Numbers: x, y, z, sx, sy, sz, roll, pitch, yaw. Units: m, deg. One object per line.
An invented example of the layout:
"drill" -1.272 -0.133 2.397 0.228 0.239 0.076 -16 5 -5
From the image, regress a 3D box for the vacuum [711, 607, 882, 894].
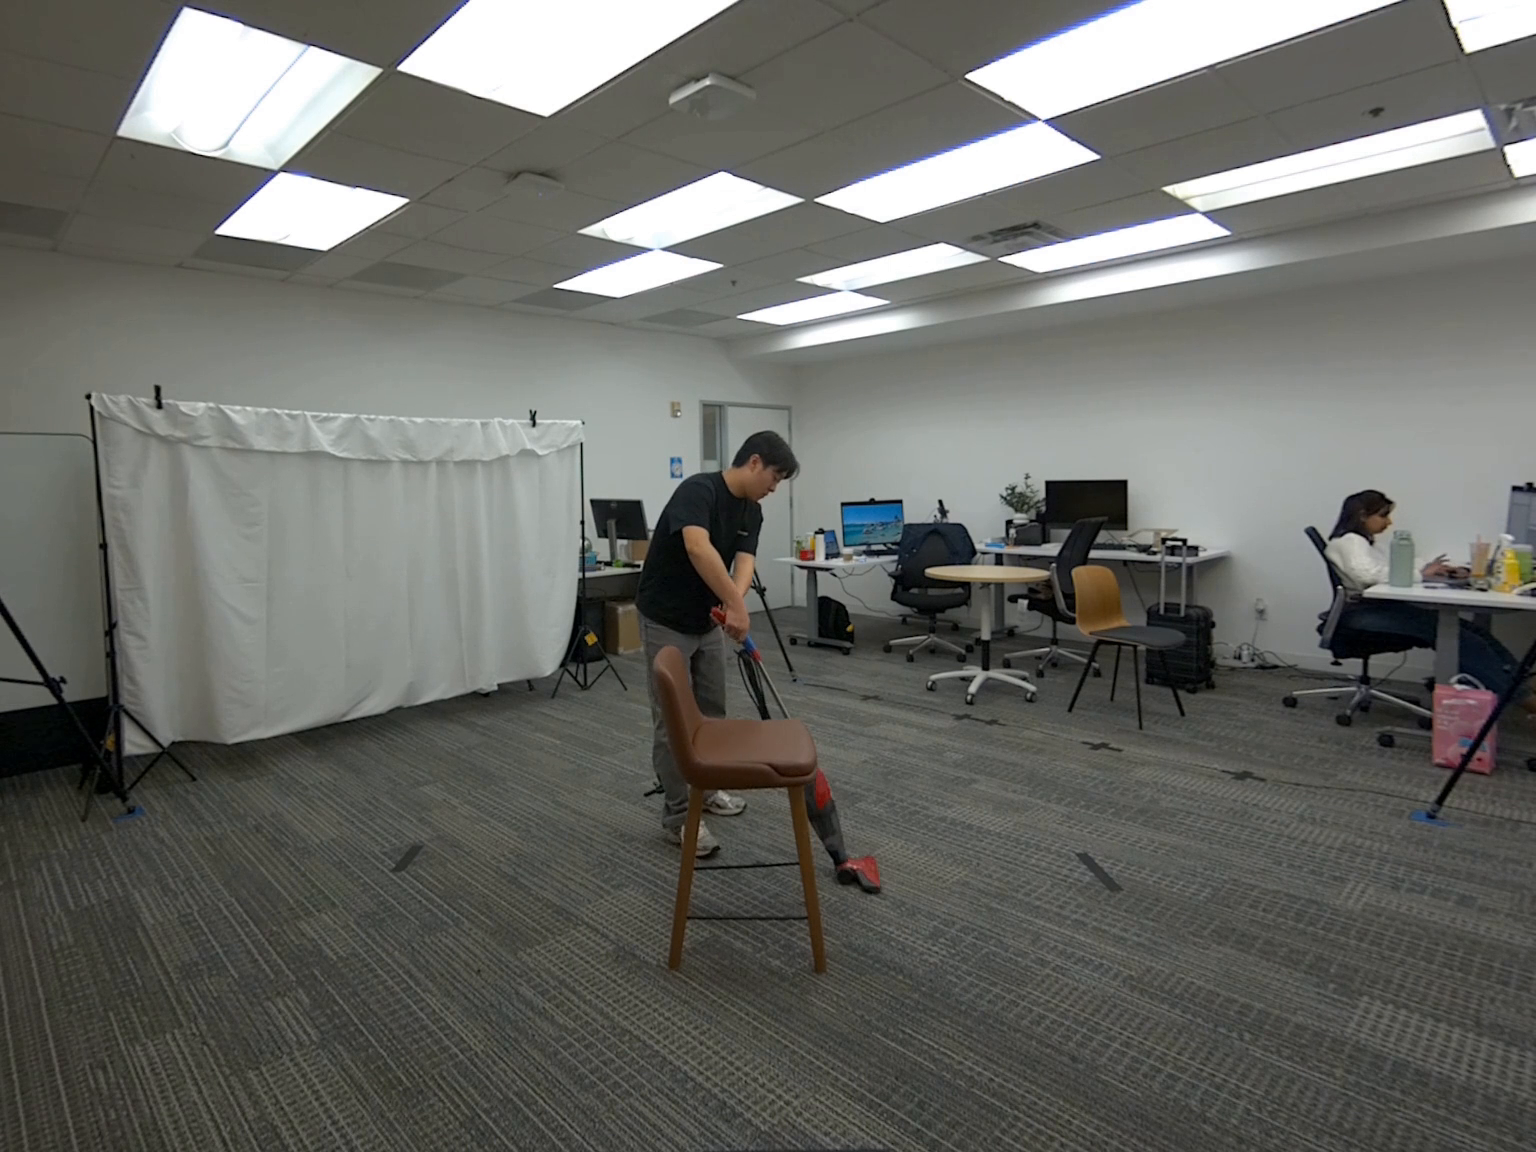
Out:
"vacuum" 0.075 0.592 3.011 0.144 1.054 0.251 -30 -3 7
